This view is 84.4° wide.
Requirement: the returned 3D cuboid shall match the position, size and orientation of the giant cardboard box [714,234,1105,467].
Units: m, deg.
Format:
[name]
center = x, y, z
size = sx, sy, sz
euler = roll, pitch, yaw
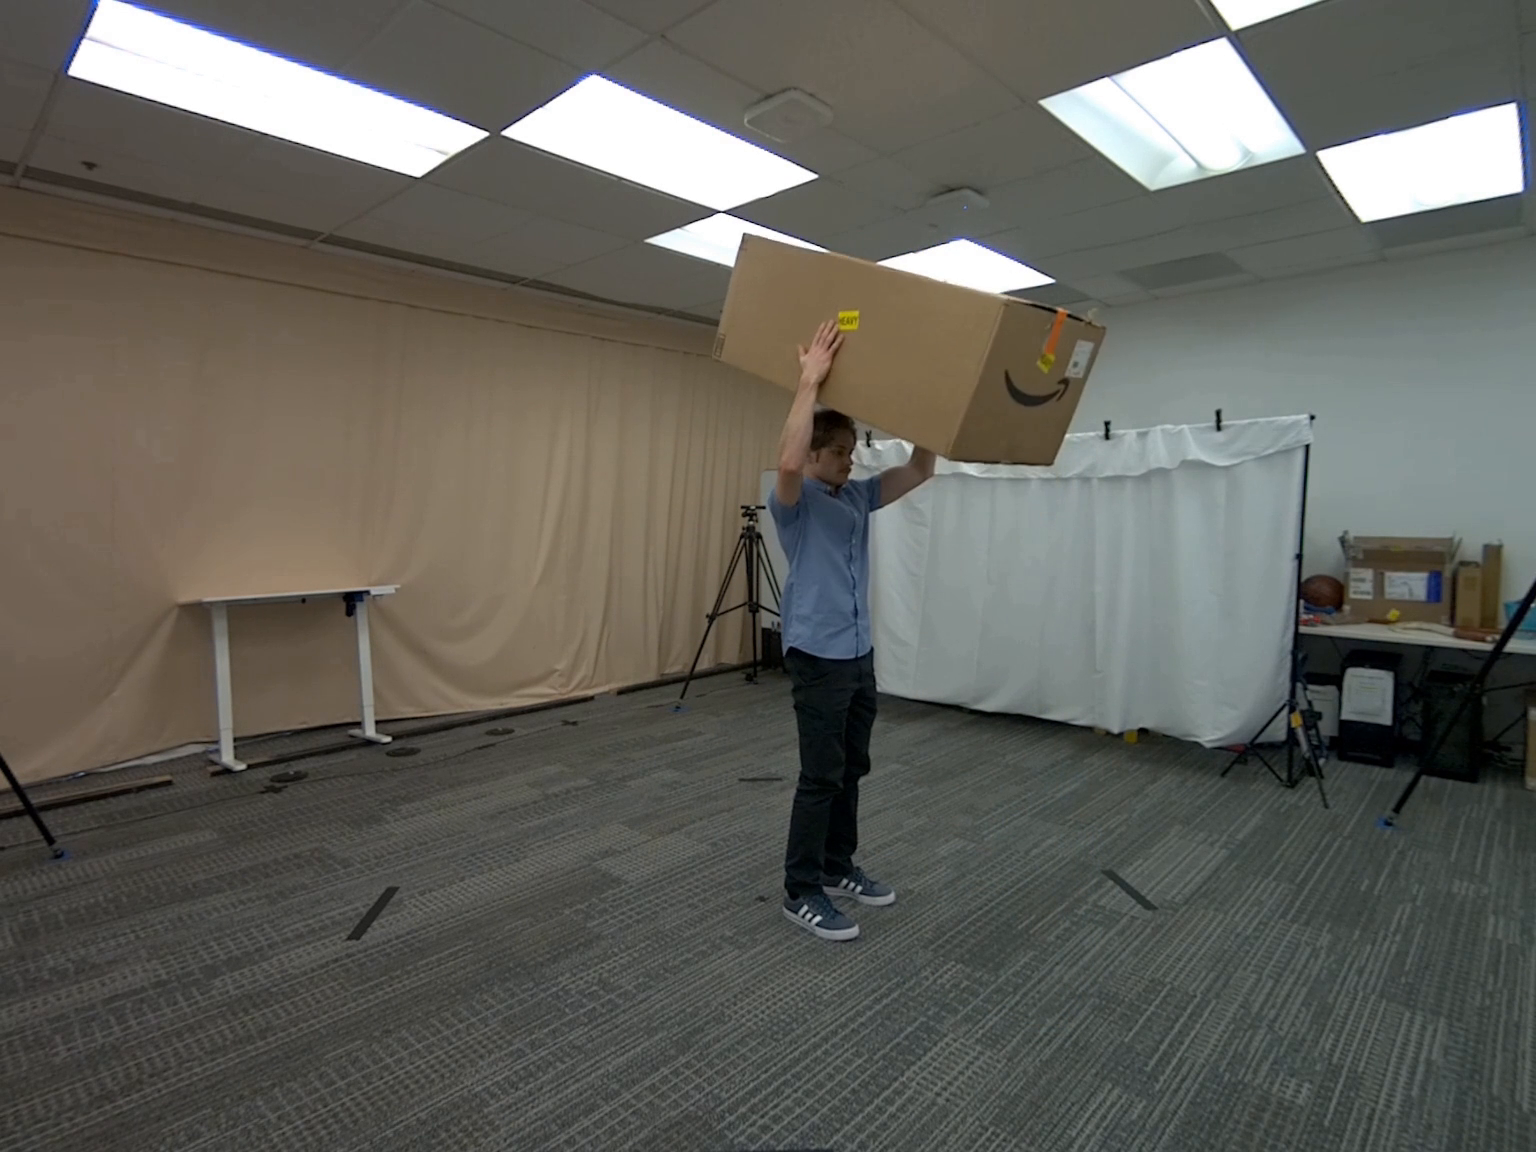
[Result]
[giant cardboard box]
center = 0.398, -0.725, 2.657
size = 0.560, 0.423, 1.064
euler = -4, 28, -43
